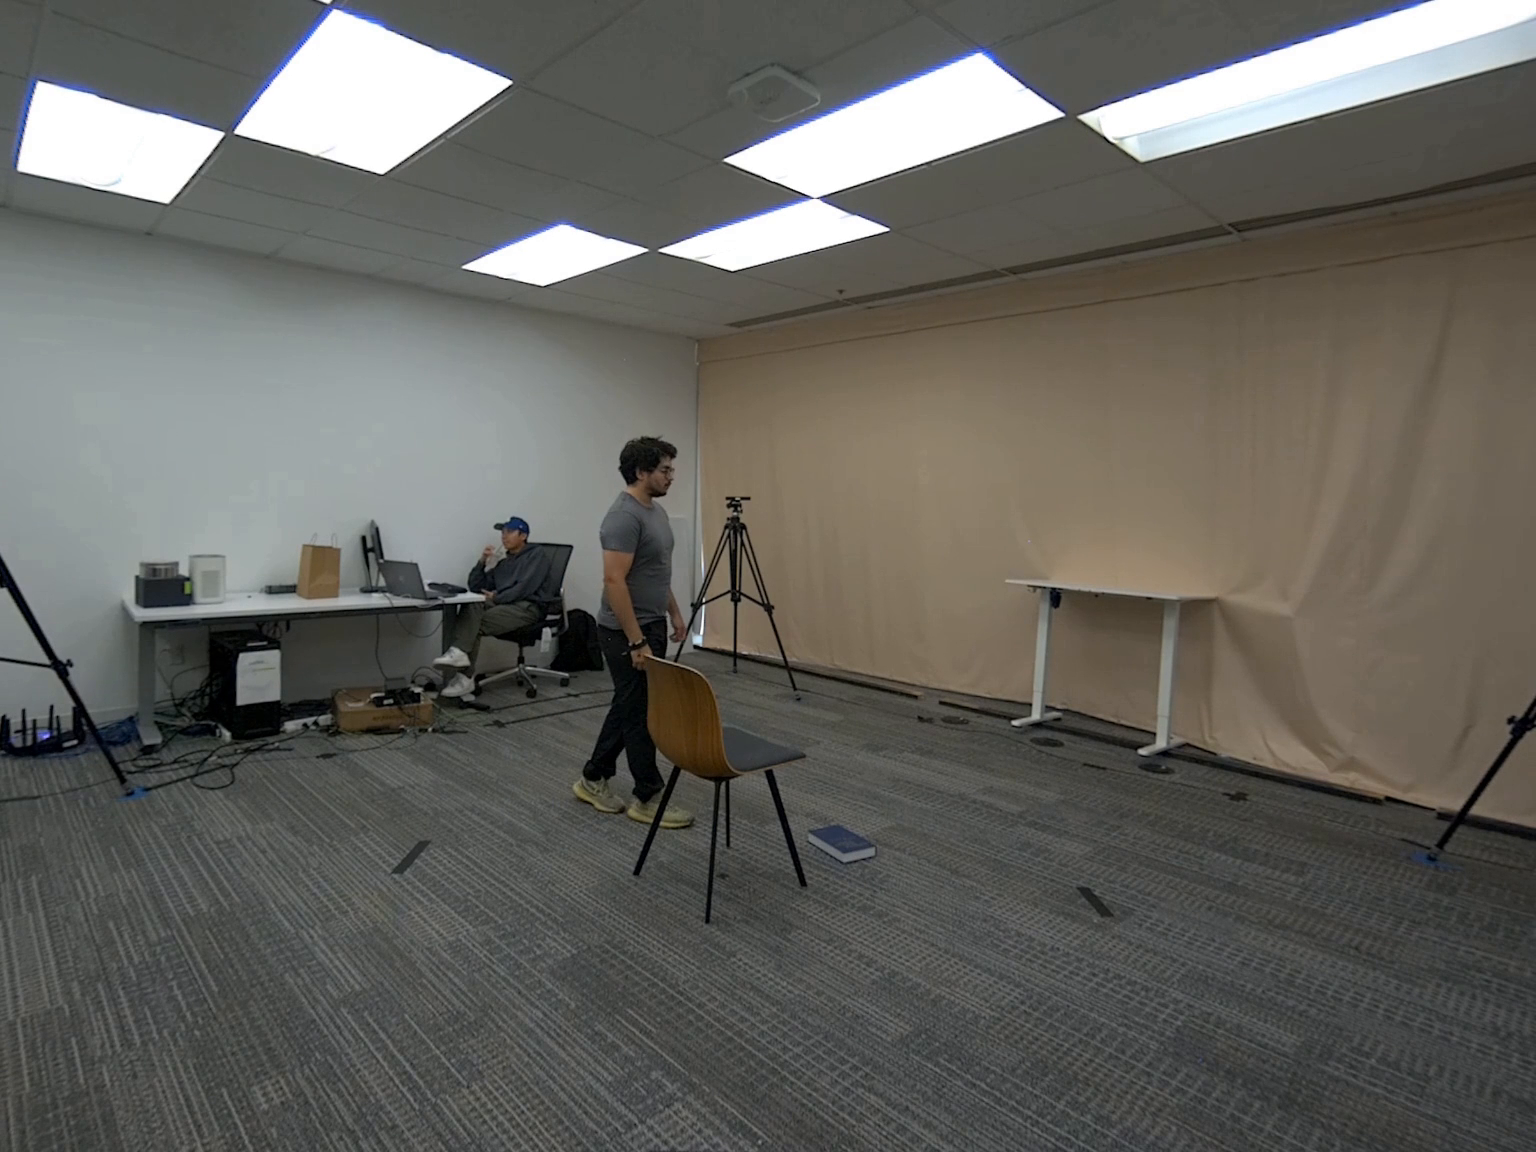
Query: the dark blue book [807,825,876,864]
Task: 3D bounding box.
[{"bbox_3d":[0.283,1.066,3.370,0.160,0.045,0.251,-1,6,-31],"label":"dark blue book"}]
